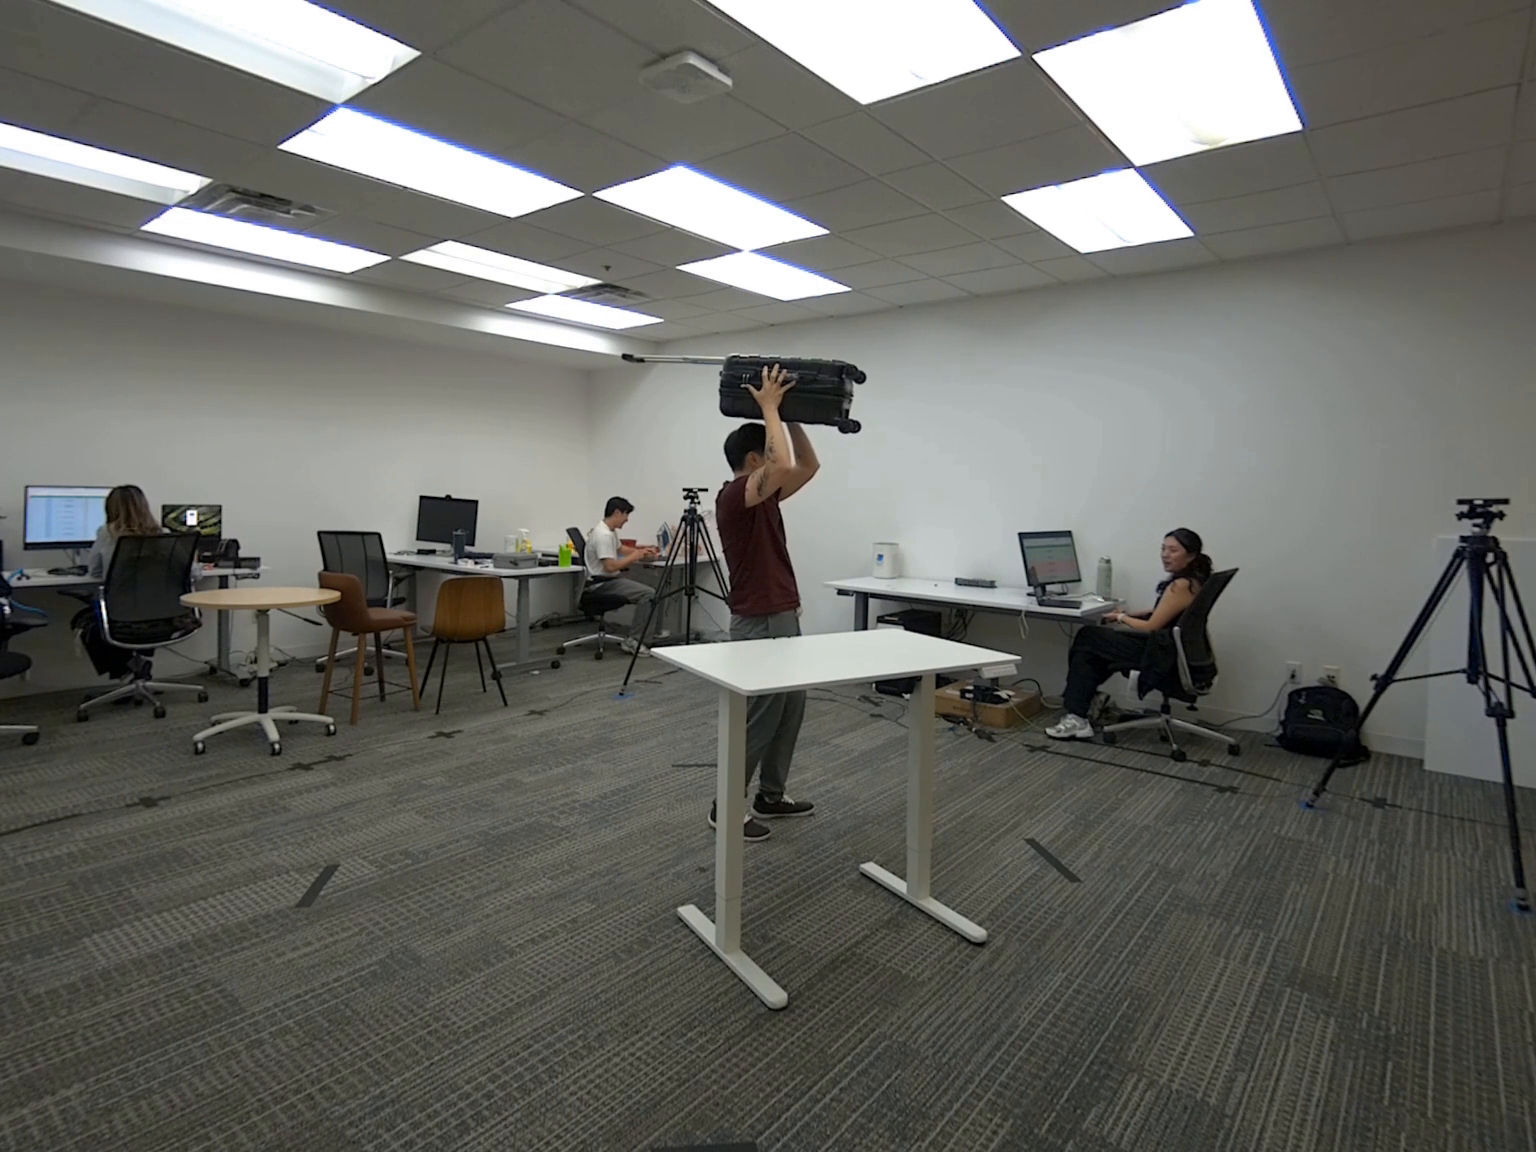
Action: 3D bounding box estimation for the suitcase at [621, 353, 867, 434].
[{"bbox_3d":[-0.124,-0.762,3.459,0.996,0.255,0.380,6,9,15],"label":"suitcase"}]
